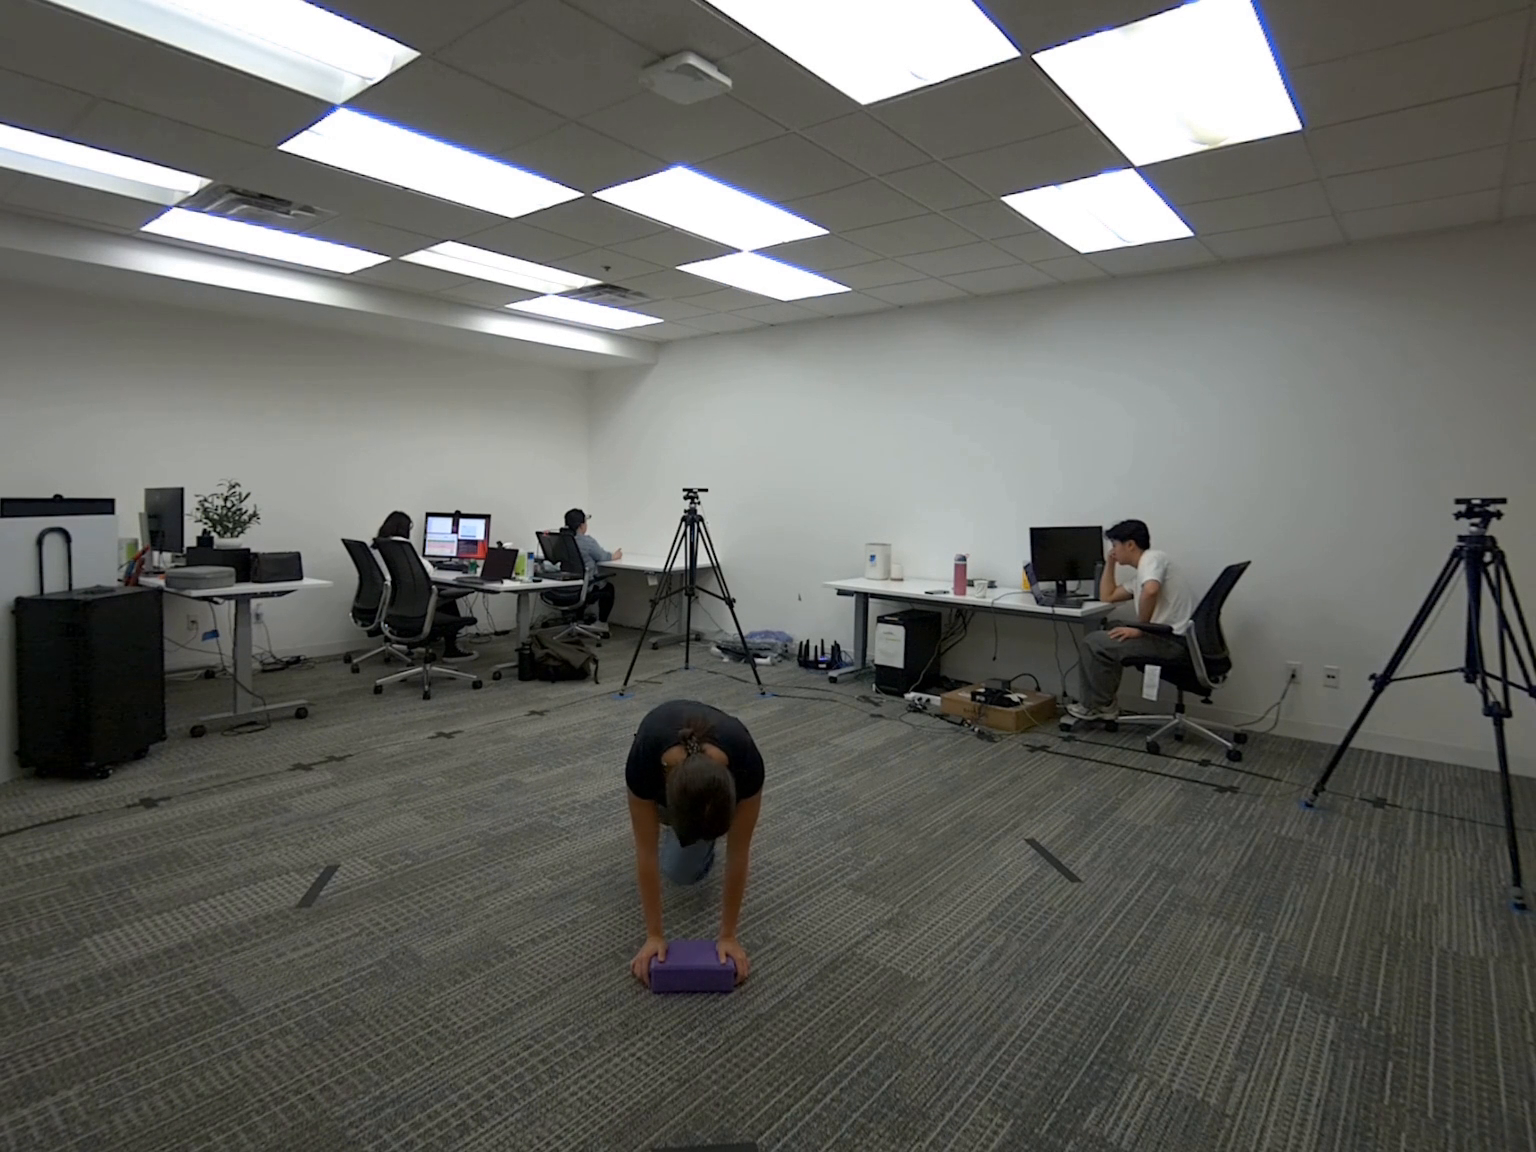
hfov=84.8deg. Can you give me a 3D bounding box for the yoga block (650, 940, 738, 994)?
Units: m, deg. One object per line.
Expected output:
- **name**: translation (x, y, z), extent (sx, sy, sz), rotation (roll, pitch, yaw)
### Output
- **yoga block**: translation (-0.219, 1.096, 2.410), extent (0.228, 0.076, 0.150), rotation (2, 3, -5)
